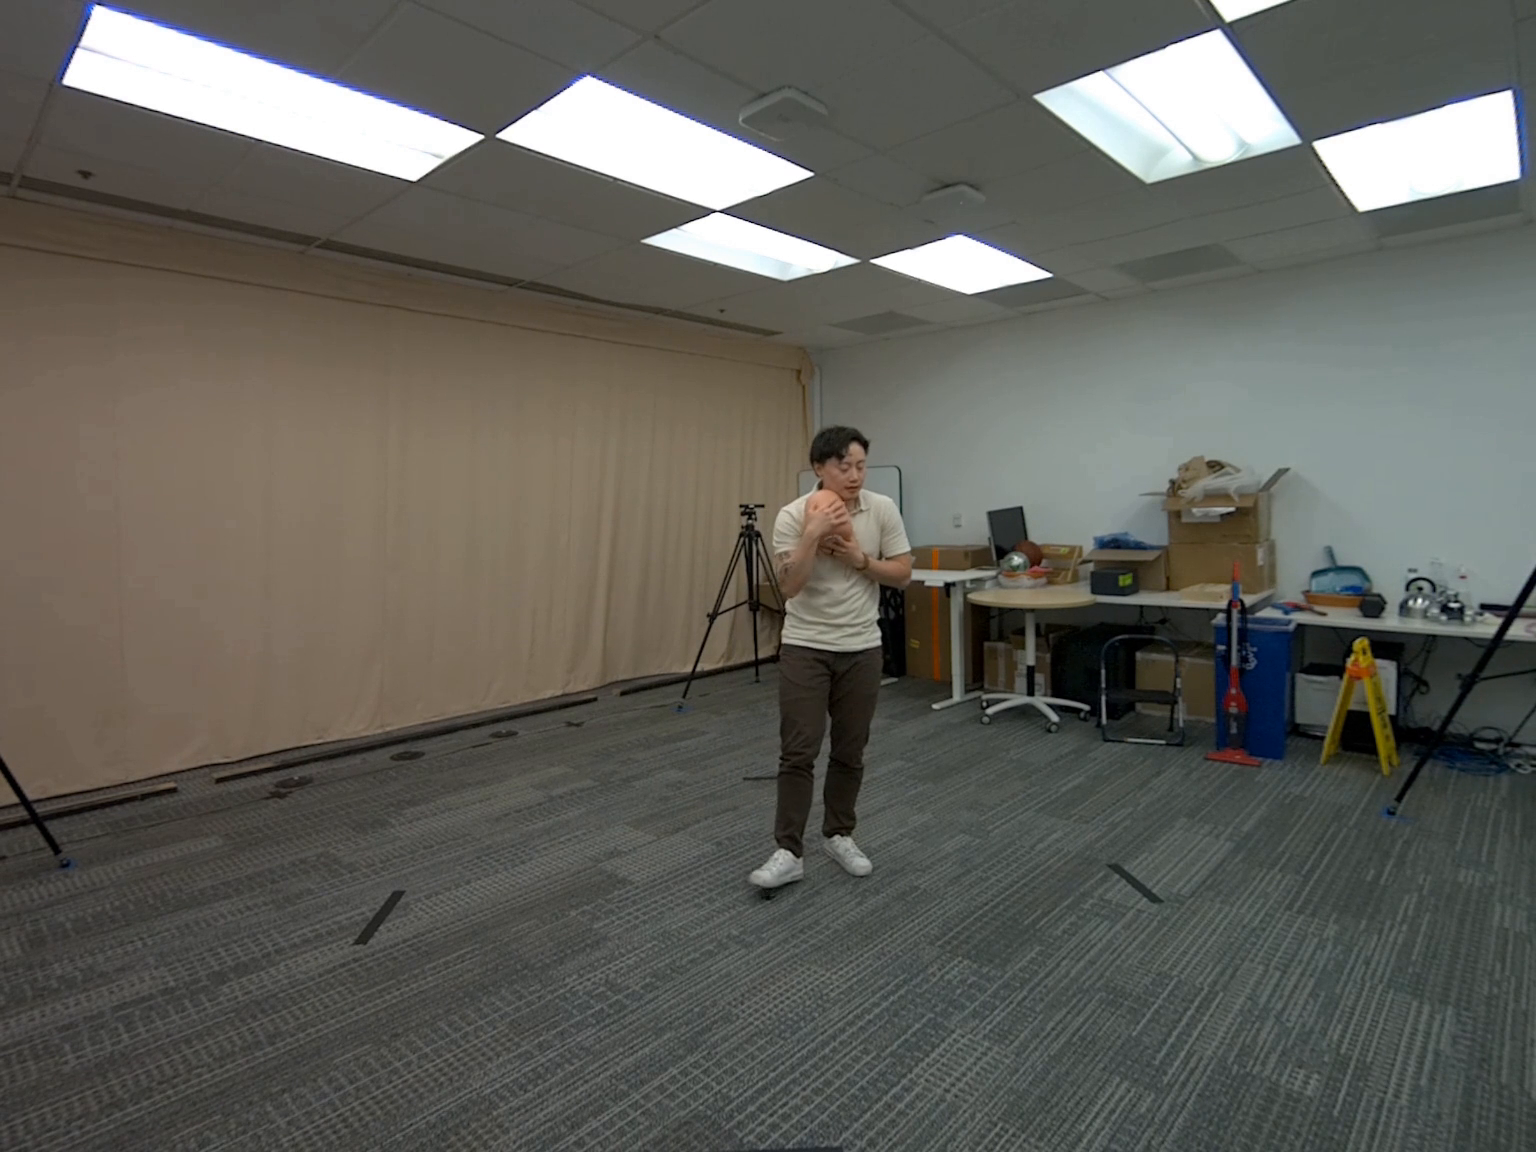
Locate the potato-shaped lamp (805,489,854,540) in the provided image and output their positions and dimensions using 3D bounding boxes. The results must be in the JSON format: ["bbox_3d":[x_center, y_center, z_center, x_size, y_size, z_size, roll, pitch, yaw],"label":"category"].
[{"bbox_3d":[0.207,-0.206,3.021,0.162,0.202,0.170,-3,-27,-14],"label":"potato-shaped lamp"}]
